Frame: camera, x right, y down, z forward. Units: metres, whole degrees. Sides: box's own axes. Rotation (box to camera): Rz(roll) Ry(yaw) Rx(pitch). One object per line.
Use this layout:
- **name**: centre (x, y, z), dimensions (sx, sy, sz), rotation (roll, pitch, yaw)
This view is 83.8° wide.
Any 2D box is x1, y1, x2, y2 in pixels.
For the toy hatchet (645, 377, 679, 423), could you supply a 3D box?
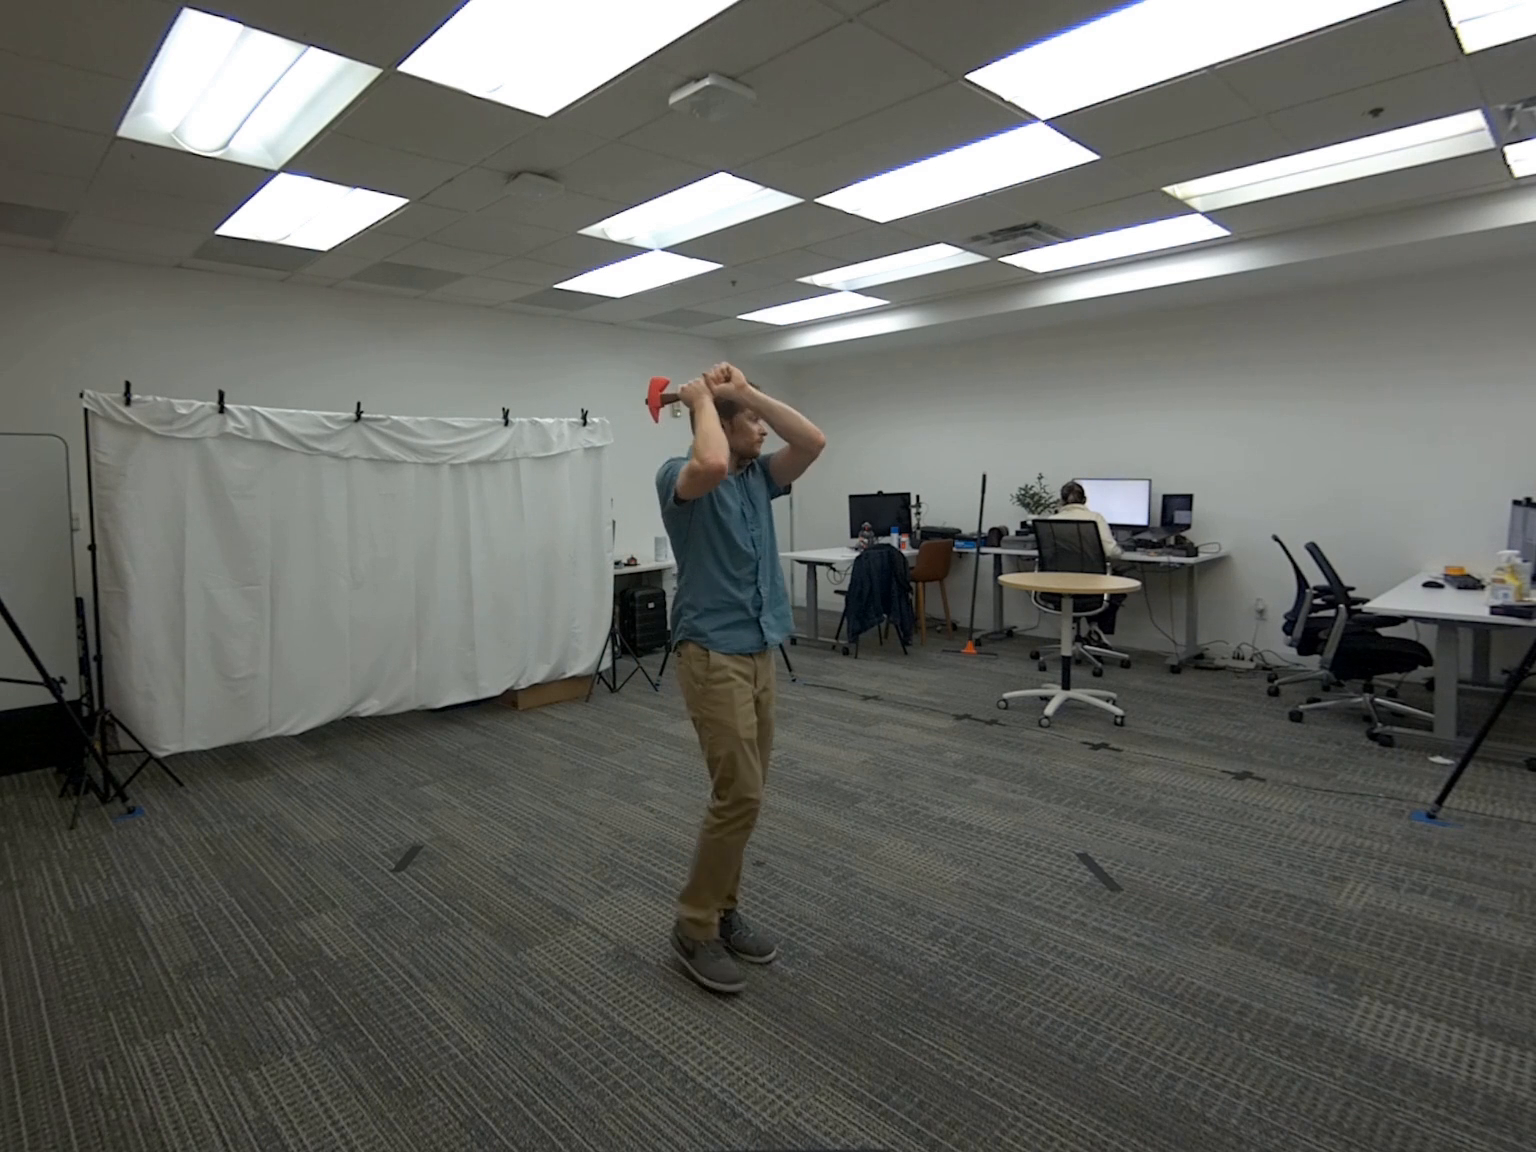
- **toy hatchet**: centre (-0.222, -0.554, 2.440), dimensions (0.273, 0.133, 0.029), rotation (-25, -12, 21)
